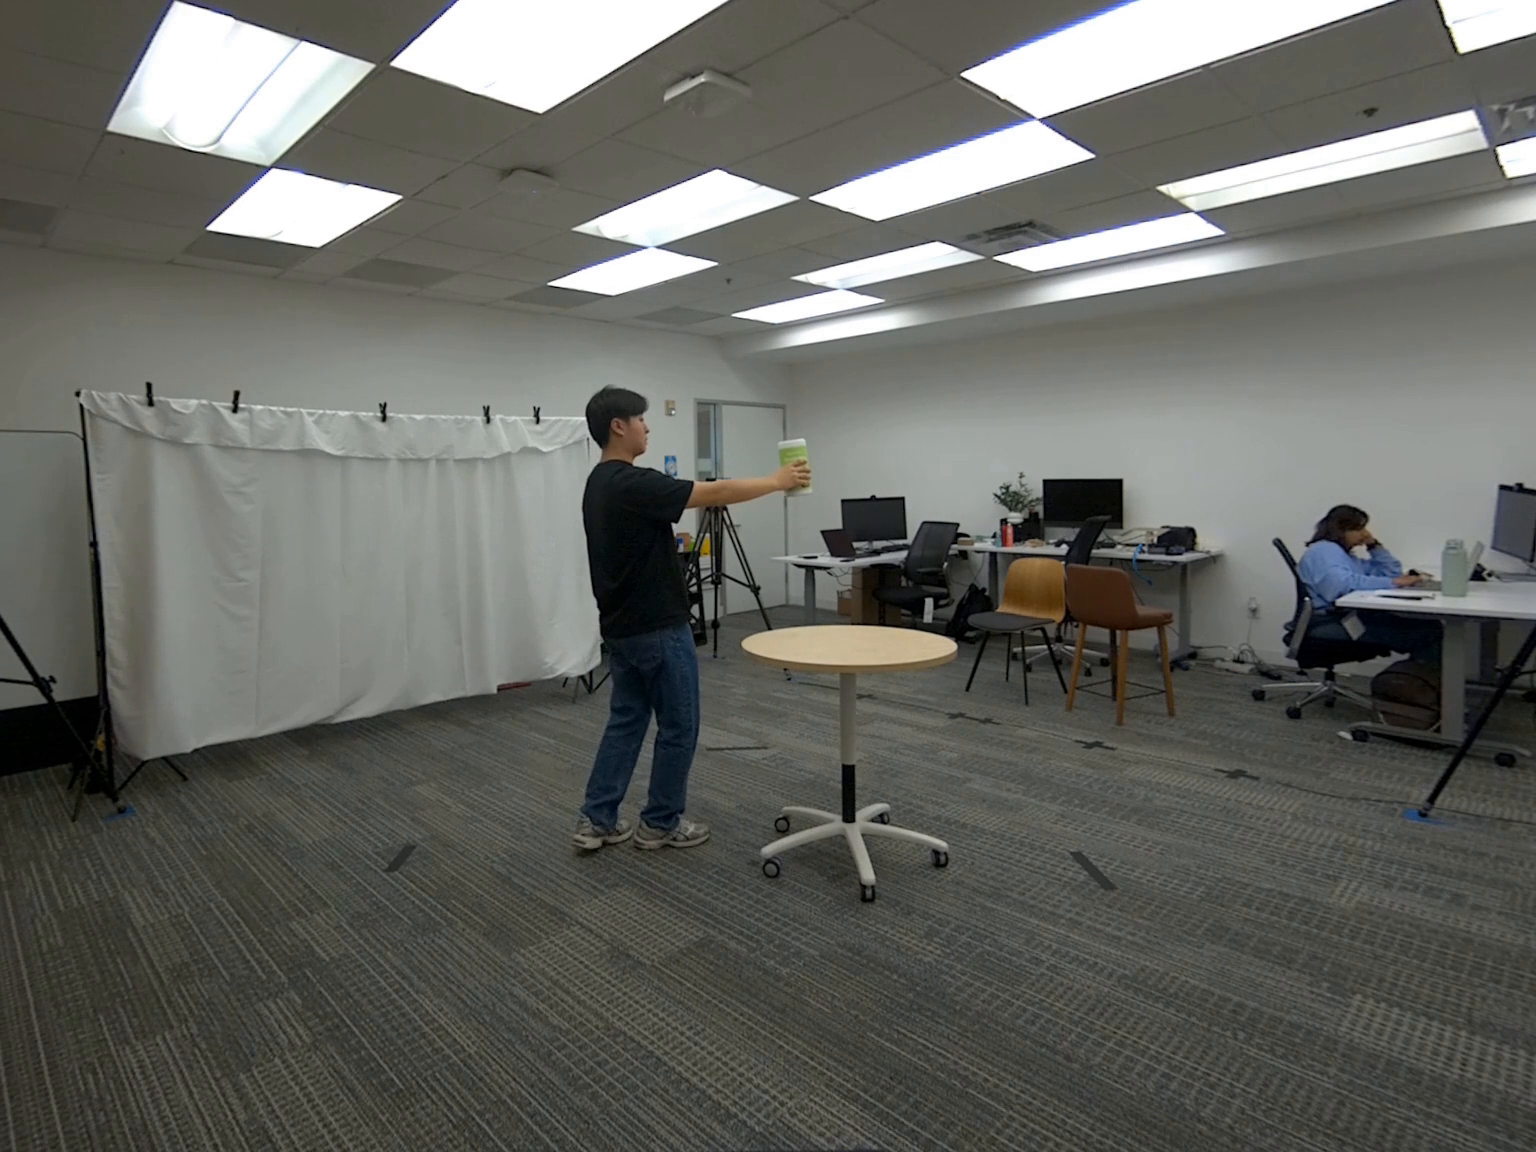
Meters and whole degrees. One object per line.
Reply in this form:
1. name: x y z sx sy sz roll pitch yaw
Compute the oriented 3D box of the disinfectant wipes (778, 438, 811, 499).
1. disinfectant wipes: 0.103 -0.419 3.308 0.118 0.217 0.118 -7 4 -1
